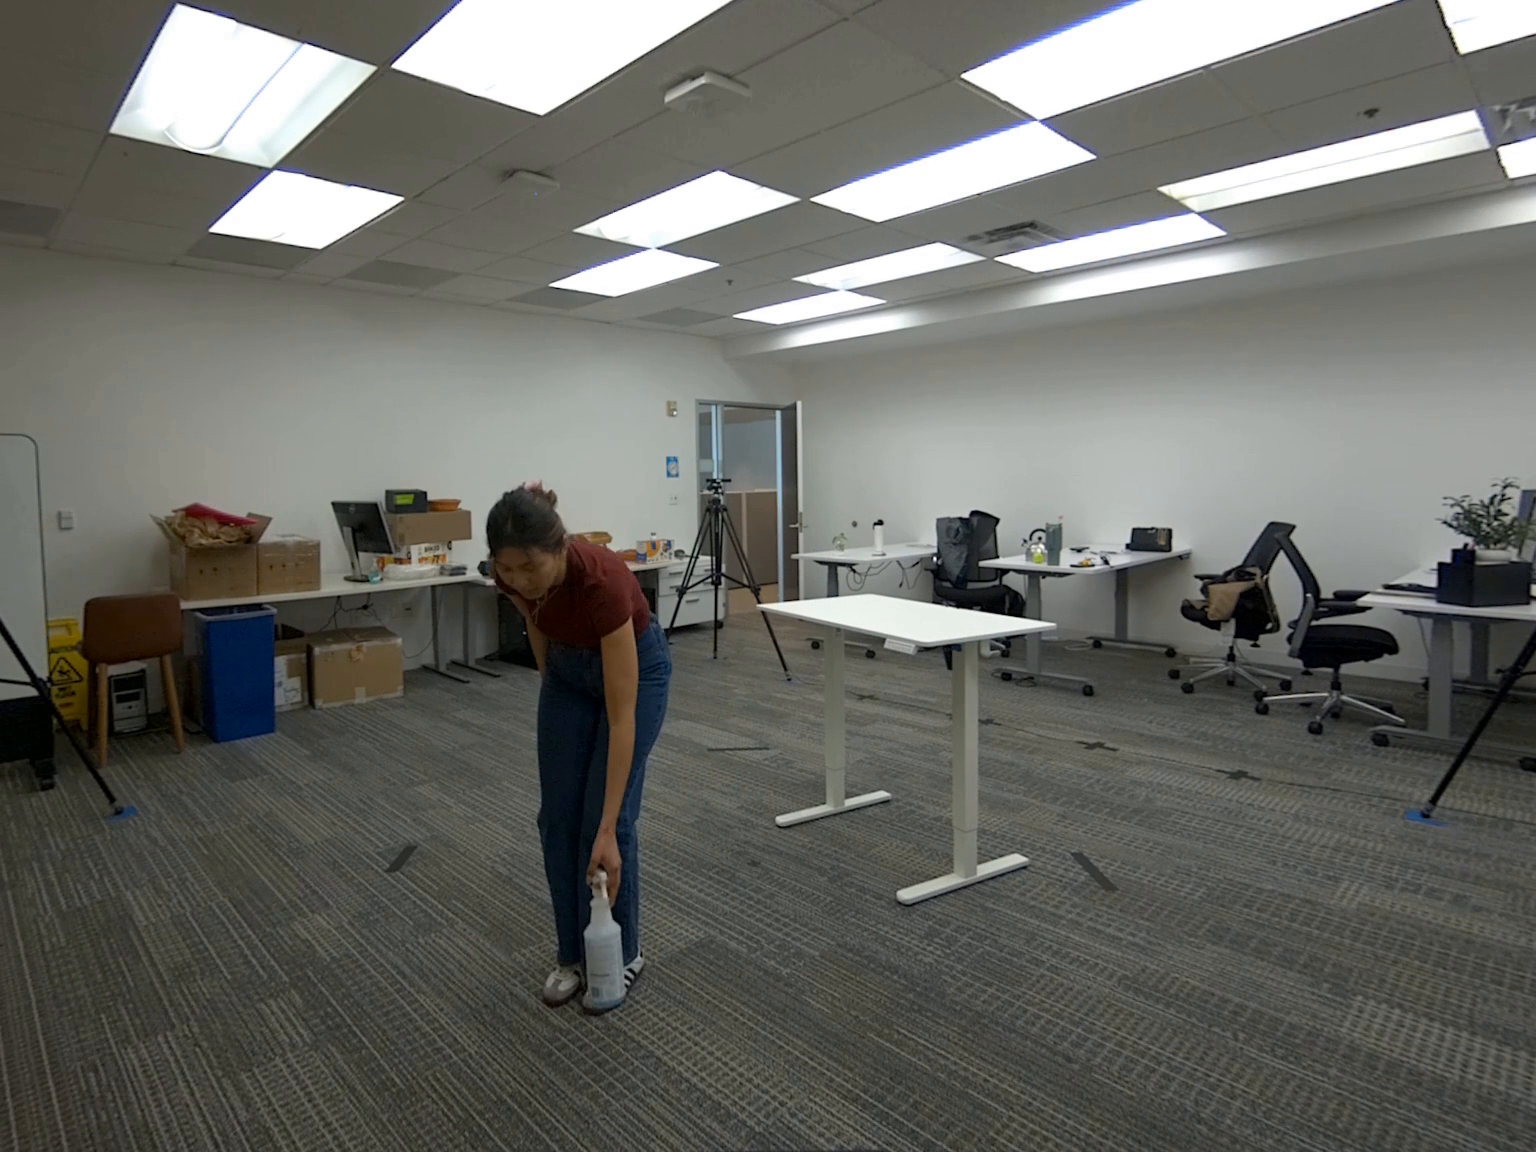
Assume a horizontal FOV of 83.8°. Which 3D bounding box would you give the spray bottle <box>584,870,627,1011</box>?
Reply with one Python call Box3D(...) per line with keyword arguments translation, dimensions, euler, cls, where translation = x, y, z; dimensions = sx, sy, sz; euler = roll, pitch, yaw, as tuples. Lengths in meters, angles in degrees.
Box3D(translation=(-0.389, 0.840, 1.997), dimensions=(0.087, 0.298, 0.090), euler=(-3, -4, -2), cls="spray bottle")
